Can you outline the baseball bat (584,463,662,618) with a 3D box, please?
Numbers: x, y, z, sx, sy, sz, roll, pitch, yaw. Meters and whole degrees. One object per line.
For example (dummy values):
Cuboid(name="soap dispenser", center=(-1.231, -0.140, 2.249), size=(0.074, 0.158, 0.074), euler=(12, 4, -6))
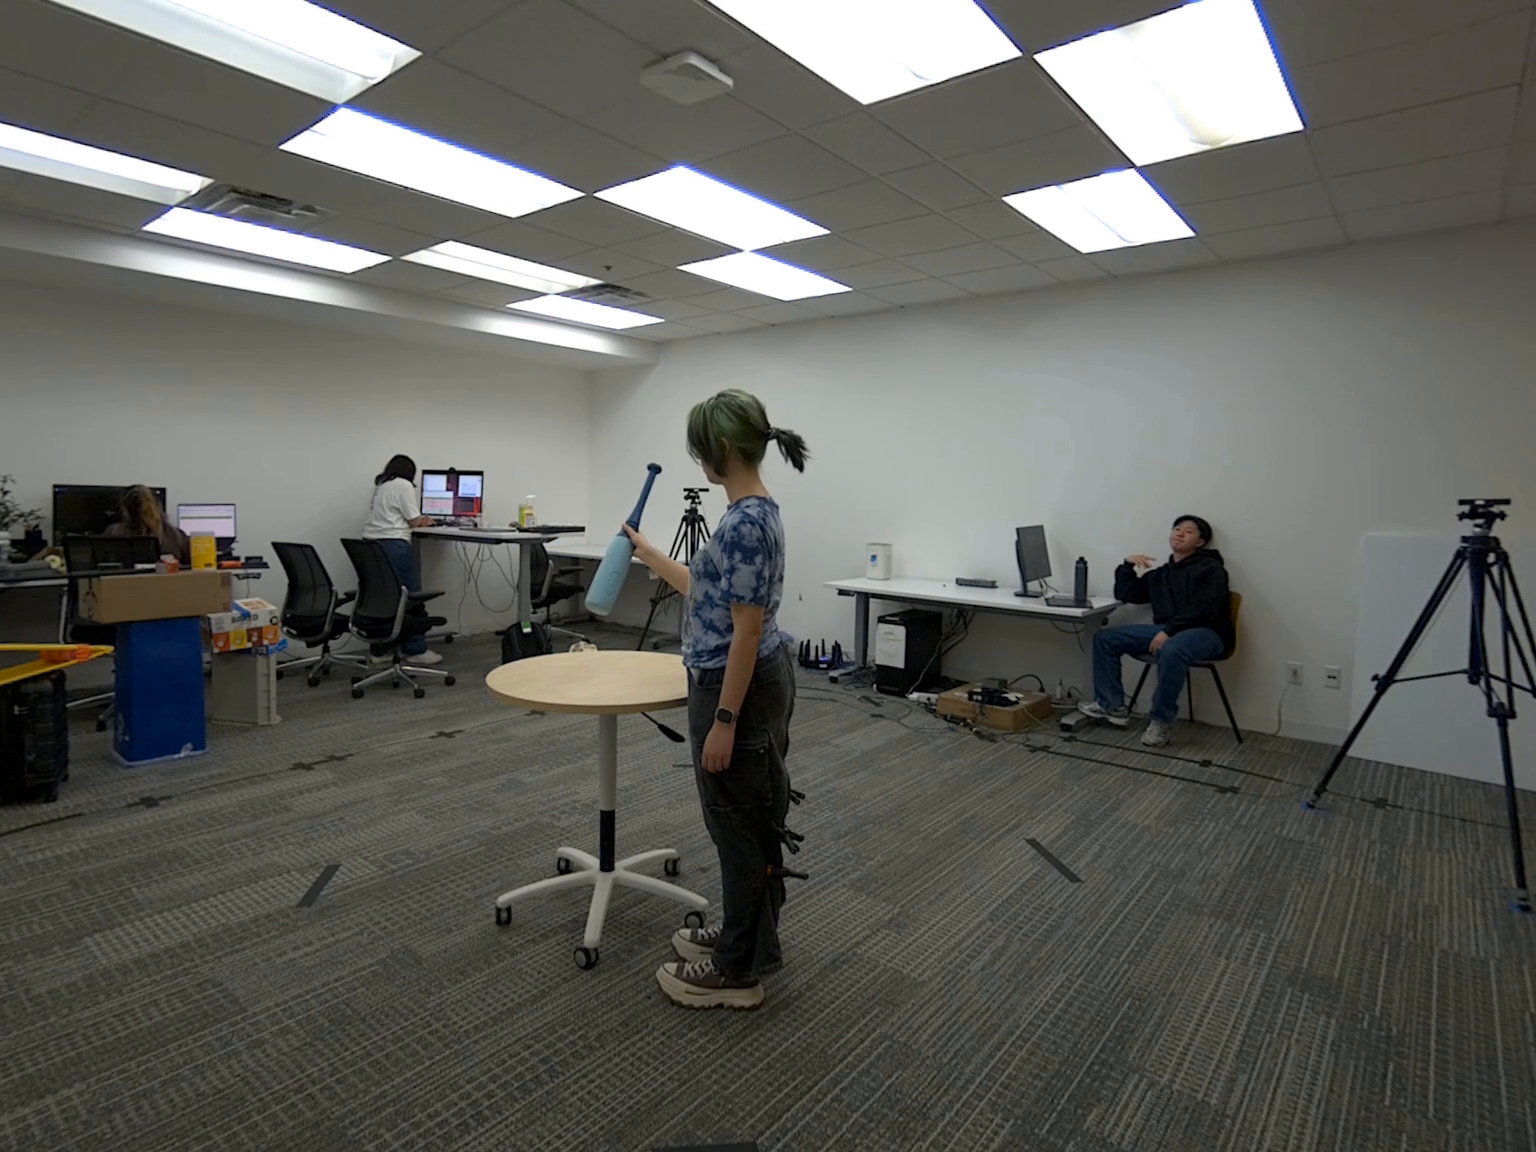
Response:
Cuboid(name="baseball bat", center=(-0.463, -0.129, 2.724), size=(0.090, 0.550, 0.087), euler=(16, -22, 5))
